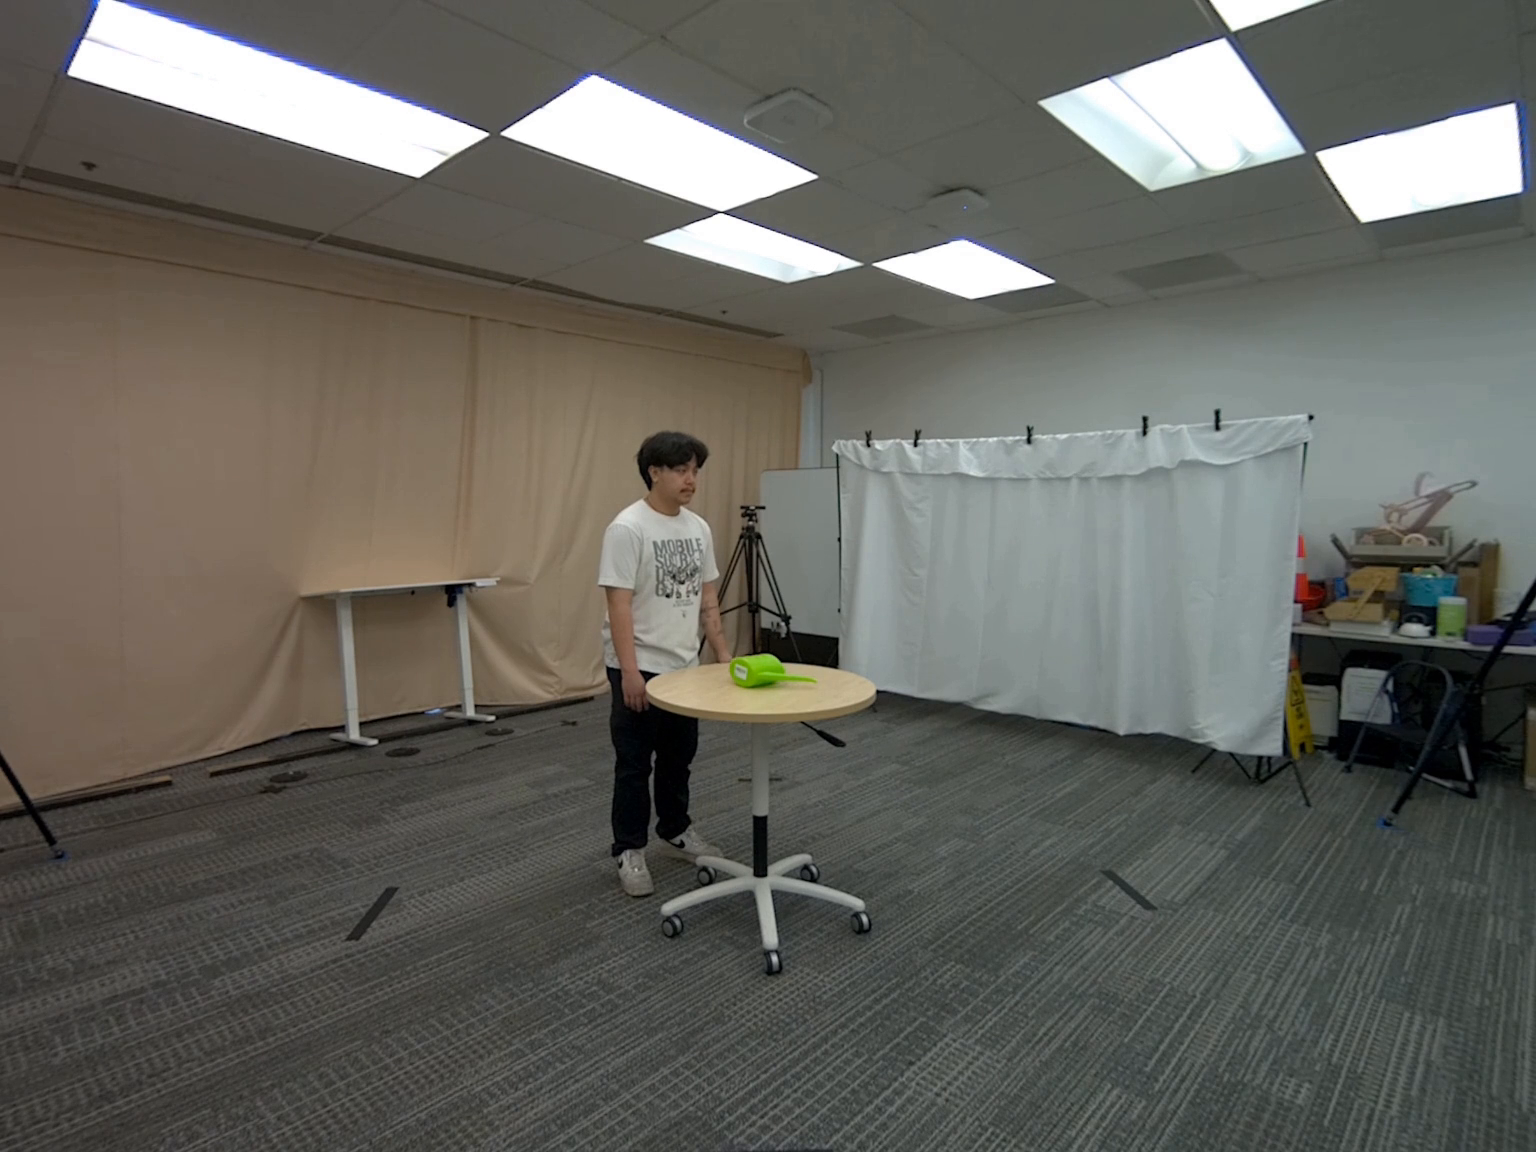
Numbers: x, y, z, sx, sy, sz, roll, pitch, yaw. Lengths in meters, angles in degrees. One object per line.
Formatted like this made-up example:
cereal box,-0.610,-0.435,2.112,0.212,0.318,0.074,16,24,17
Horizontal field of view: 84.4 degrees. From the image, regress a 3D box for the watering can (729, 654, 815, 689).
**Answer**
watering can,0.009,0.313,2.806,0.171,0.098,0.287,-5,2,-42
